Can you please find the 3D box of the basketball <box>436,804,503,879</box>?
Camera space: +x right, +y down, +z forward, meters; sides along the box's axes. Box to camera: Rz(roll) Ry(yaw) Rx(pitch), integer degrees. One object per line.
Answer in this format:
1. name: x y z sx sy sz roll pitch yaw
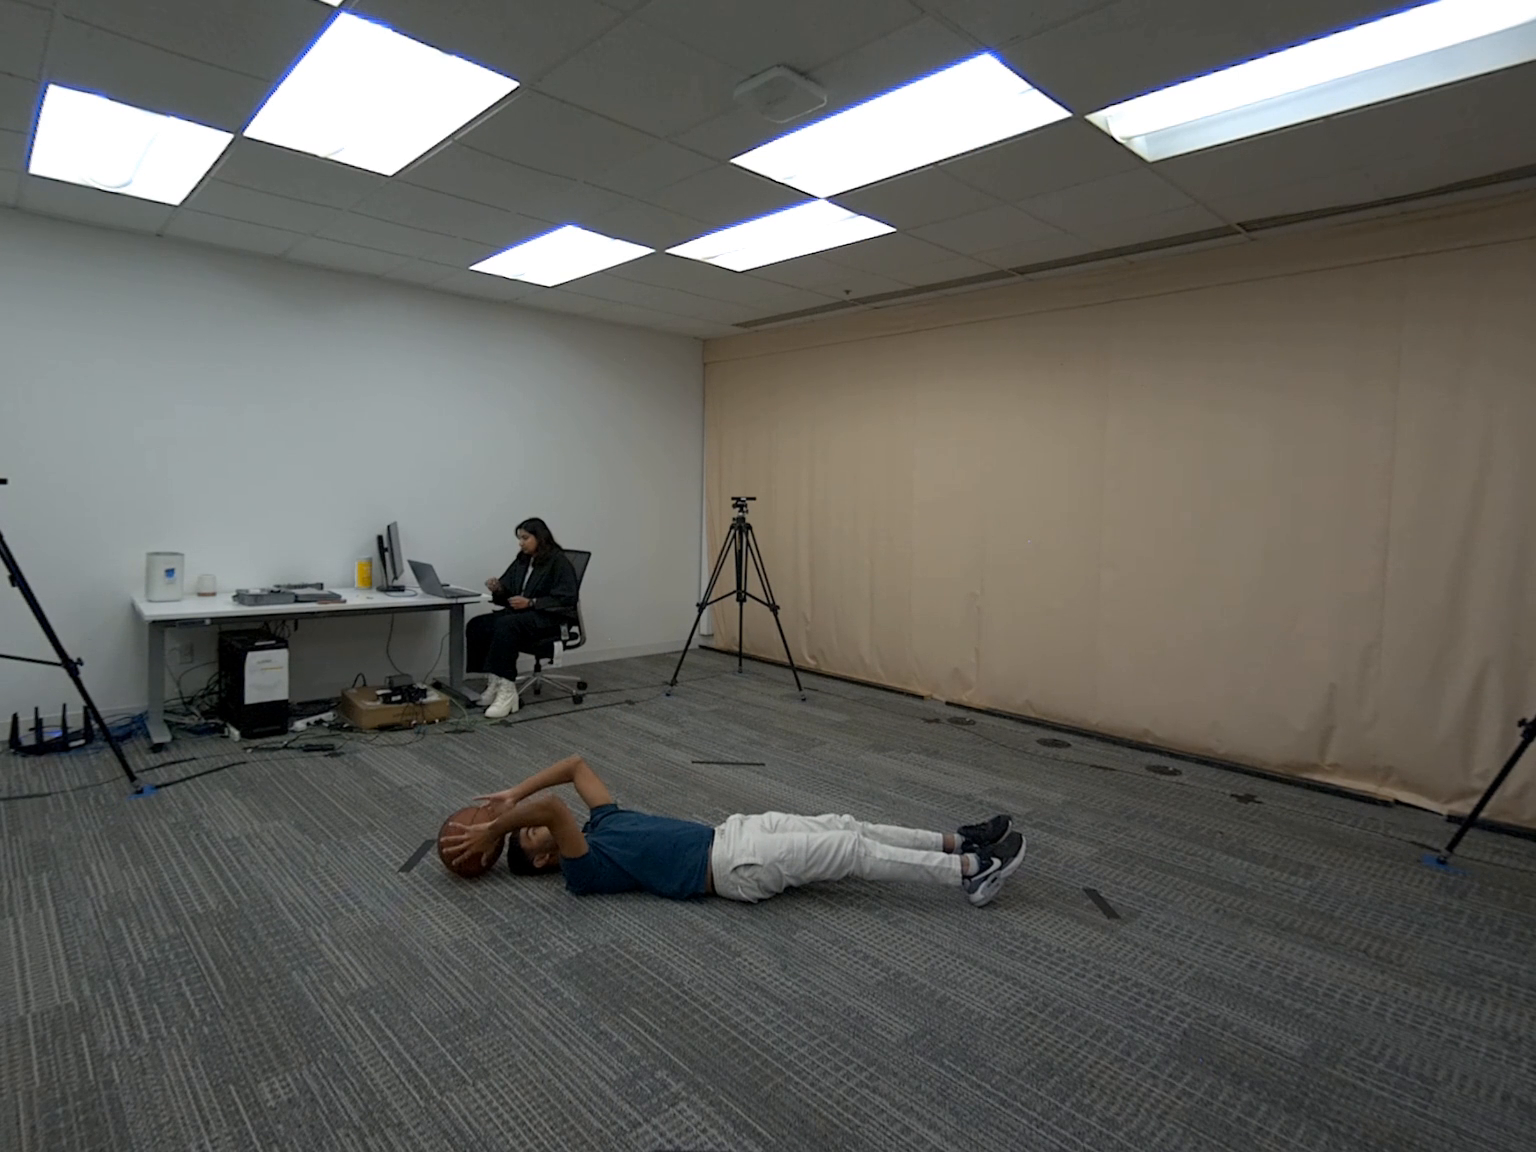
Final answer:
1. basketball: -1.093 0.969 3.071 0.236 0.235 0.237 1 4 -1
